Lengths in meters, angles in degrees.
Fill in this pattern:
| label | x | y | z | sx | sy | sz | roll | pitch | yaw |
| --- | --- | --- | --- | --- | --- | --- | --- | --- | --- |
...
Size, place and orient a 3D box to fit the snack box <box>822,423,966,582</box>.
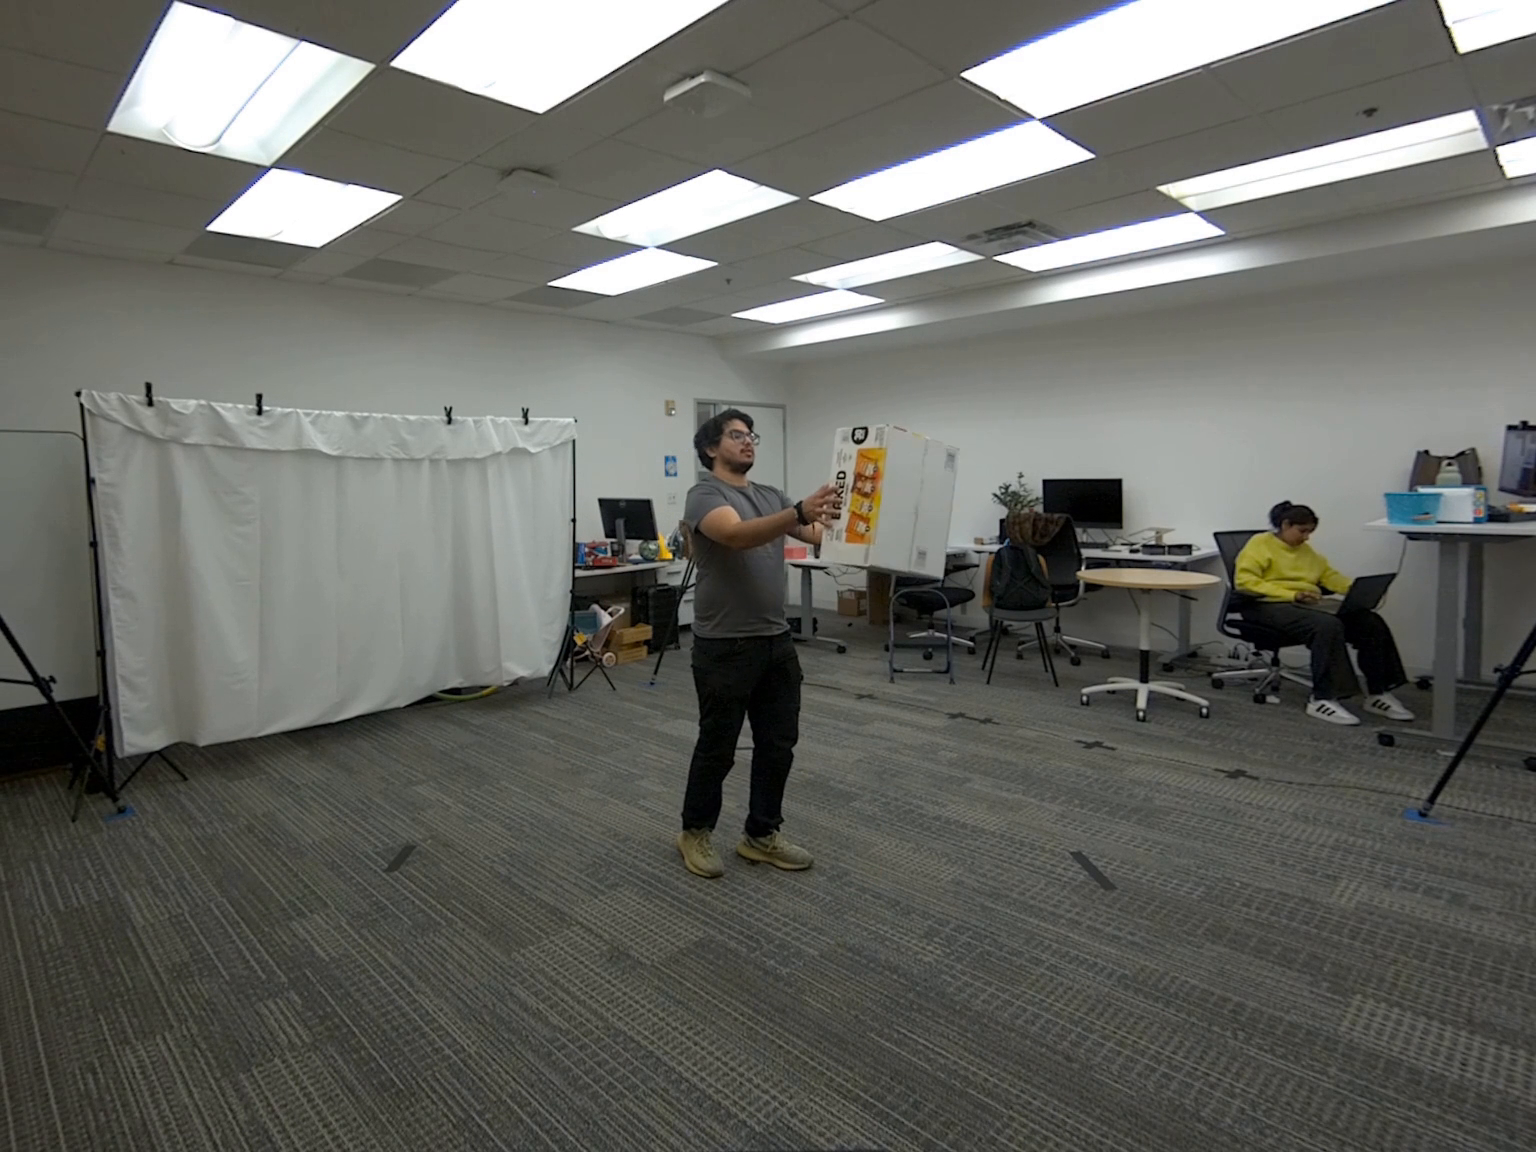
| label | x | y | z | sx | sy | sz | roll | pitch | yaw |
| --- | --- | --- | --- | --- | --- | --- | --- | --- | --- |
| snack box | 0.380 | -0.214 | 2.566 | 0.329 | 0.406 | 0.212 | 10 | -5 | -39 |
